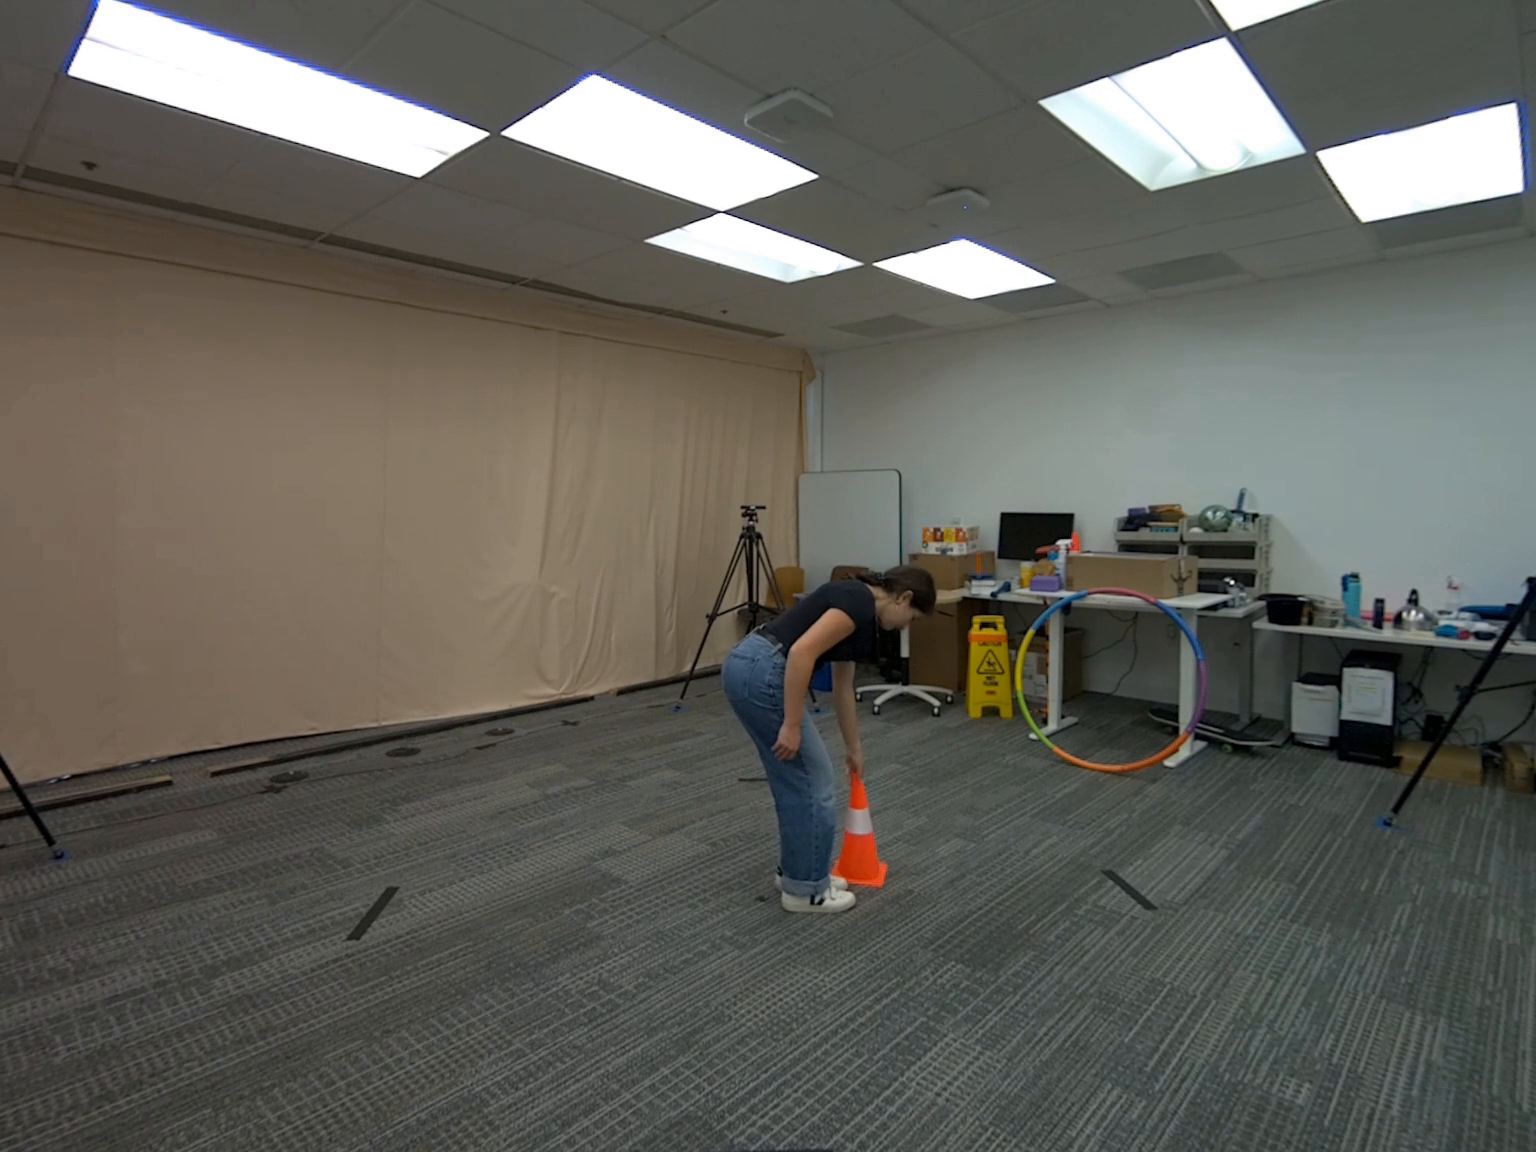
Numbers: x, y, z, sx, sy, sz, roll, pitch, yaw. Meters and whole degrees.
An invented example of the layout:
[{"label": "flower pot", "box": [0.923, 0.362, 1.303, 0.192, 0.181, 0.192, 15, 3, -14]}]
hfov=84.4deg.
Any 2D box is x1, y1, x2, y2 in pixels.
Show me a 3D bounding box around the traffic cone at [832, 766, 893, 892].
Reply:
[{"label": "traffic cone", "box": [0.350, 0.939, 3.176, 0.206, 0.383, 0.202, -1, 4, 13]}]
